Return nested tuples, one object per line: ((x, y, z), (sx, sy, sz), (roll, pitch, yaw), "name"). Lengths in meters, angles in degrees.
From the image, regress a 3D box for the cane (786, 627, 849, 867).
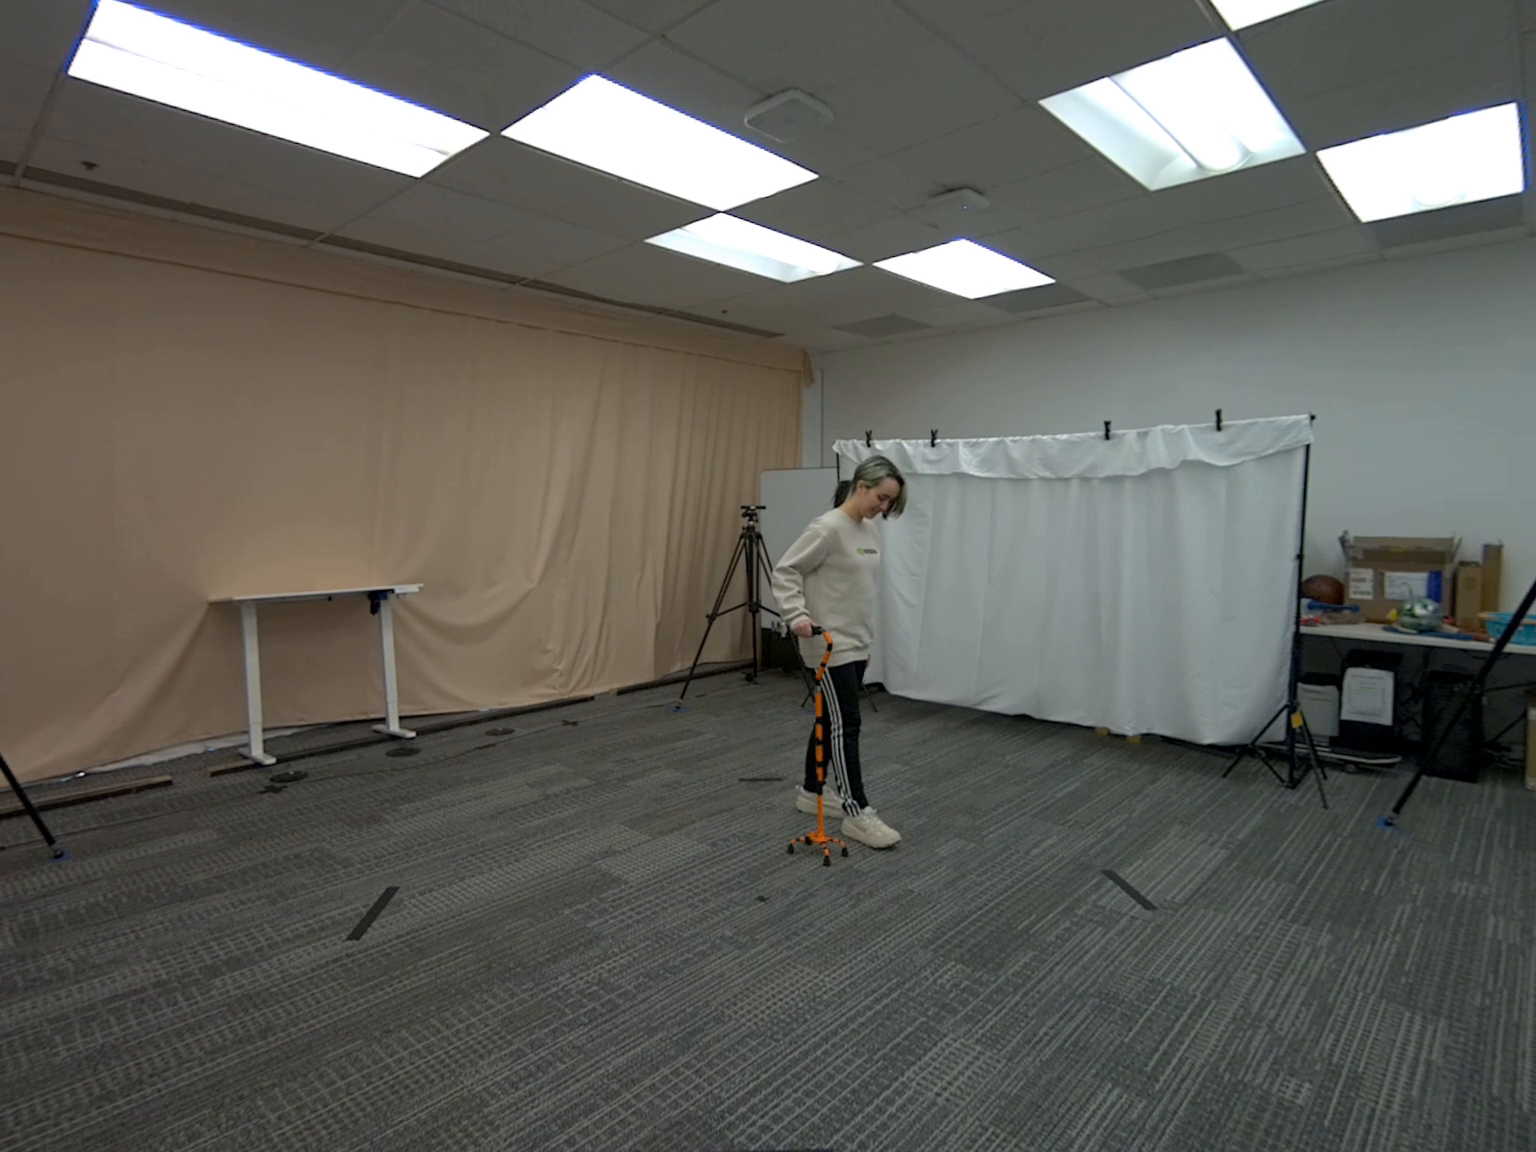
((0.197, 0.663, 3.335), (0.213, 0.906, 0.147), (3, 5, 42), "cane")
